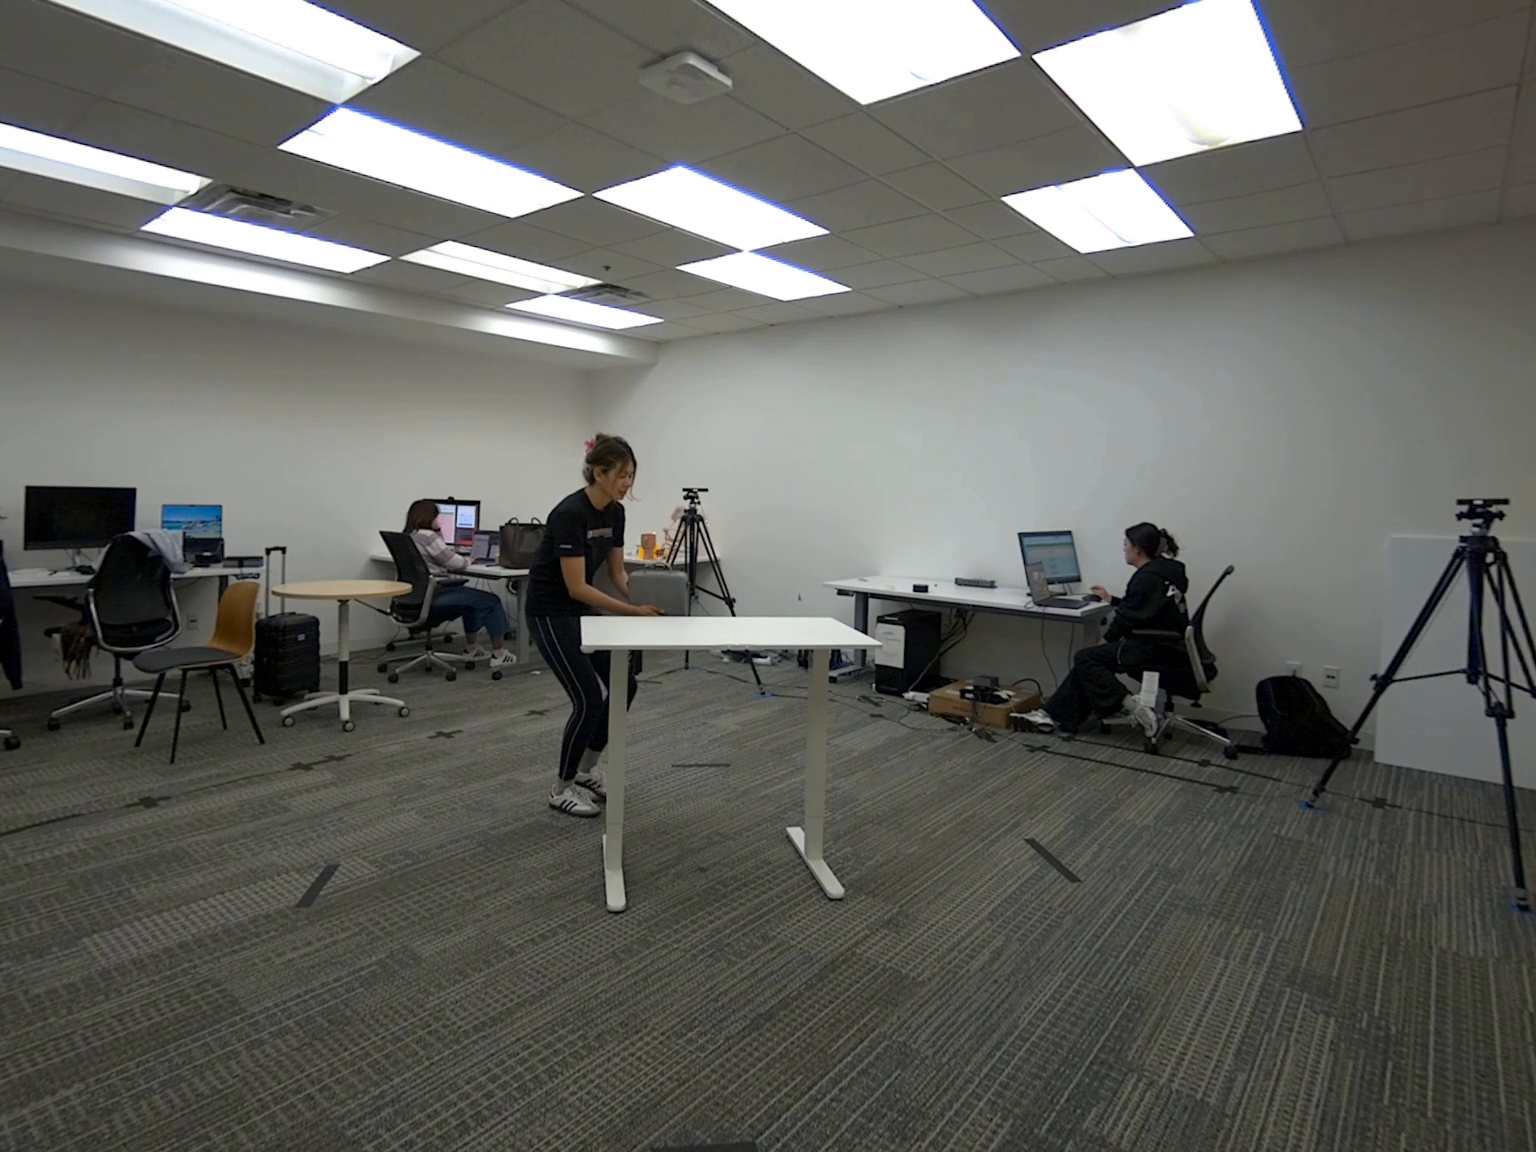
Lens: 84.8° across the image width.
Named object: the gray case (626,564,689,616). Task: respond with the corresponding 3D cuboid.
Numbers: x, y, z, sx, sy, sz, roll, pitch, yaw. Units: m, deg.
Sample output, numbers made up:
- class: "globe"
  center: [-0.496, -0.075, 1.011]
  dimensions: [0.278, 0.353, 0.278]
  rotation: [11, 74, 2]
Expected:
- class: "gray case"
  center: [-0.466, 0.103, 3.557]
  dimensions: [0.259, 0.259, 0.104]
  rotation: [-2, 6, 8]
